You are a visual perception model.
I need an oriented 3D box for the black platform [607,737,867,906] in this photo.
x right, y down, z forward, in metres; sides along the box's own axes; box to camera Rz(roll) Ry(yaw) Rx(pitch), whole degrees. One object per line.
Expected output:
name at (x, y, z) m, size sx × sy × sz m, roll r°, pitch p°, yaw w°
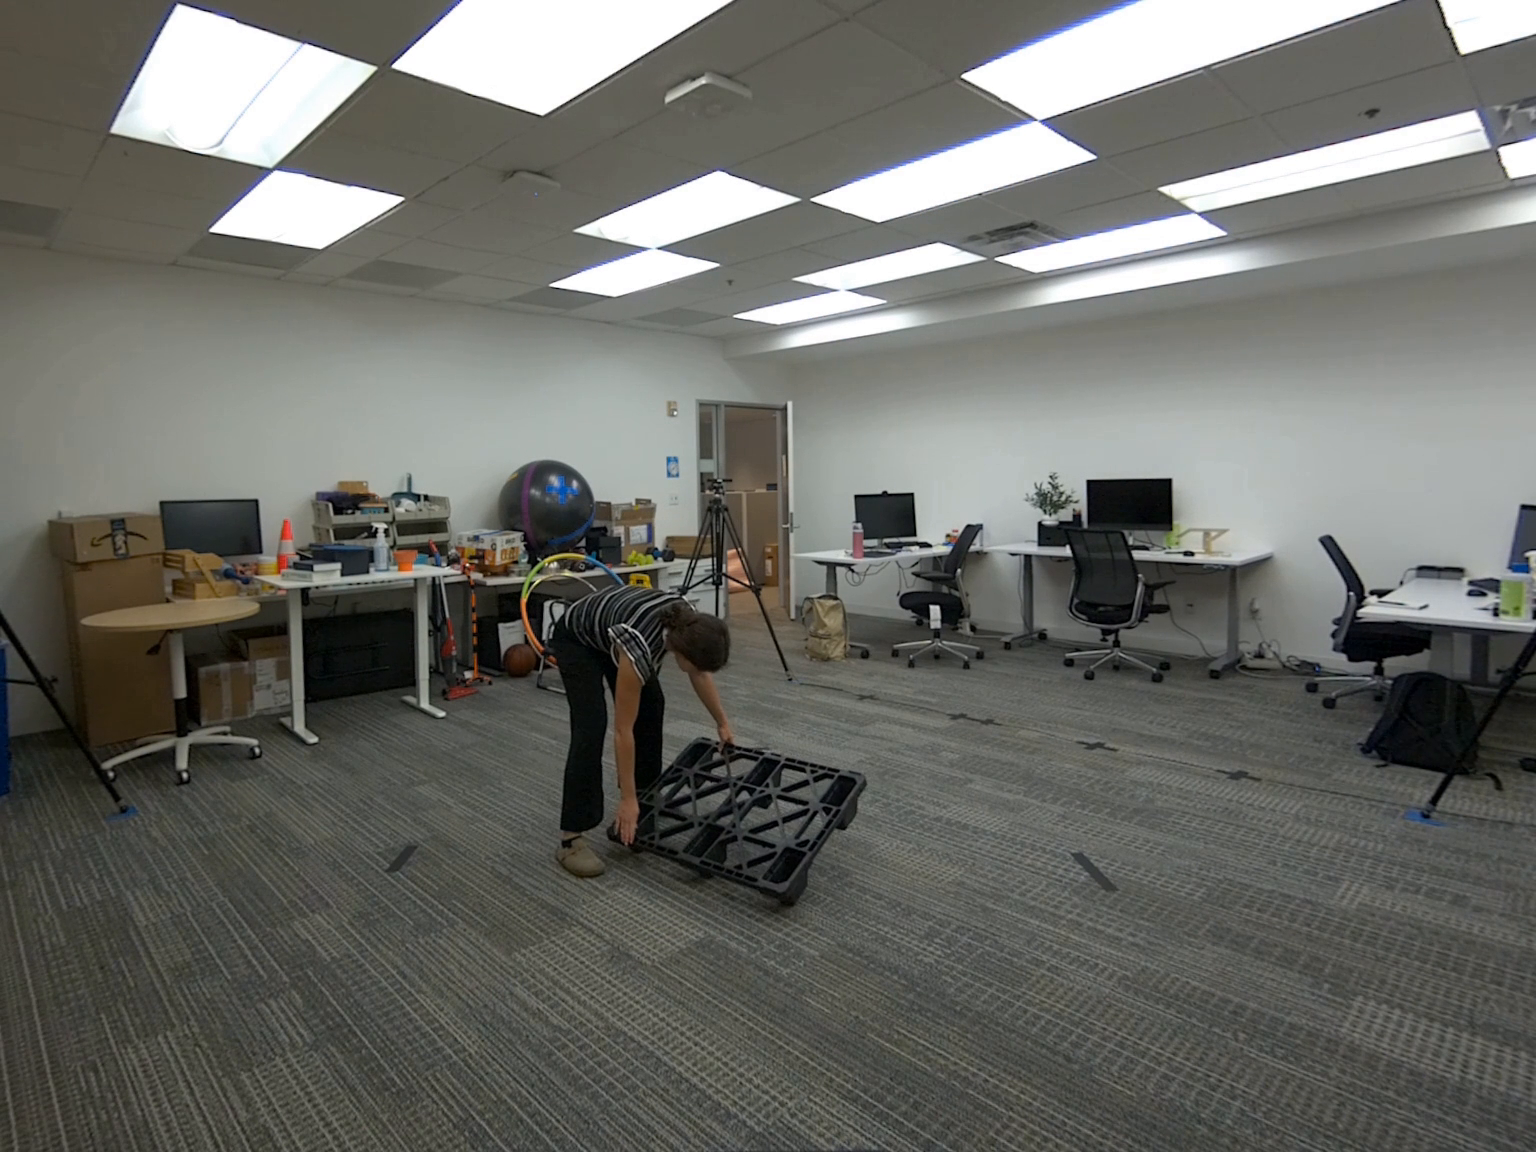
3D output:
black platform at (-0.109, 0.892, 3.157) m, size 0.830 × 0.140 × 0.601 m, roll 5°, pitch 29°, yaw 37°
